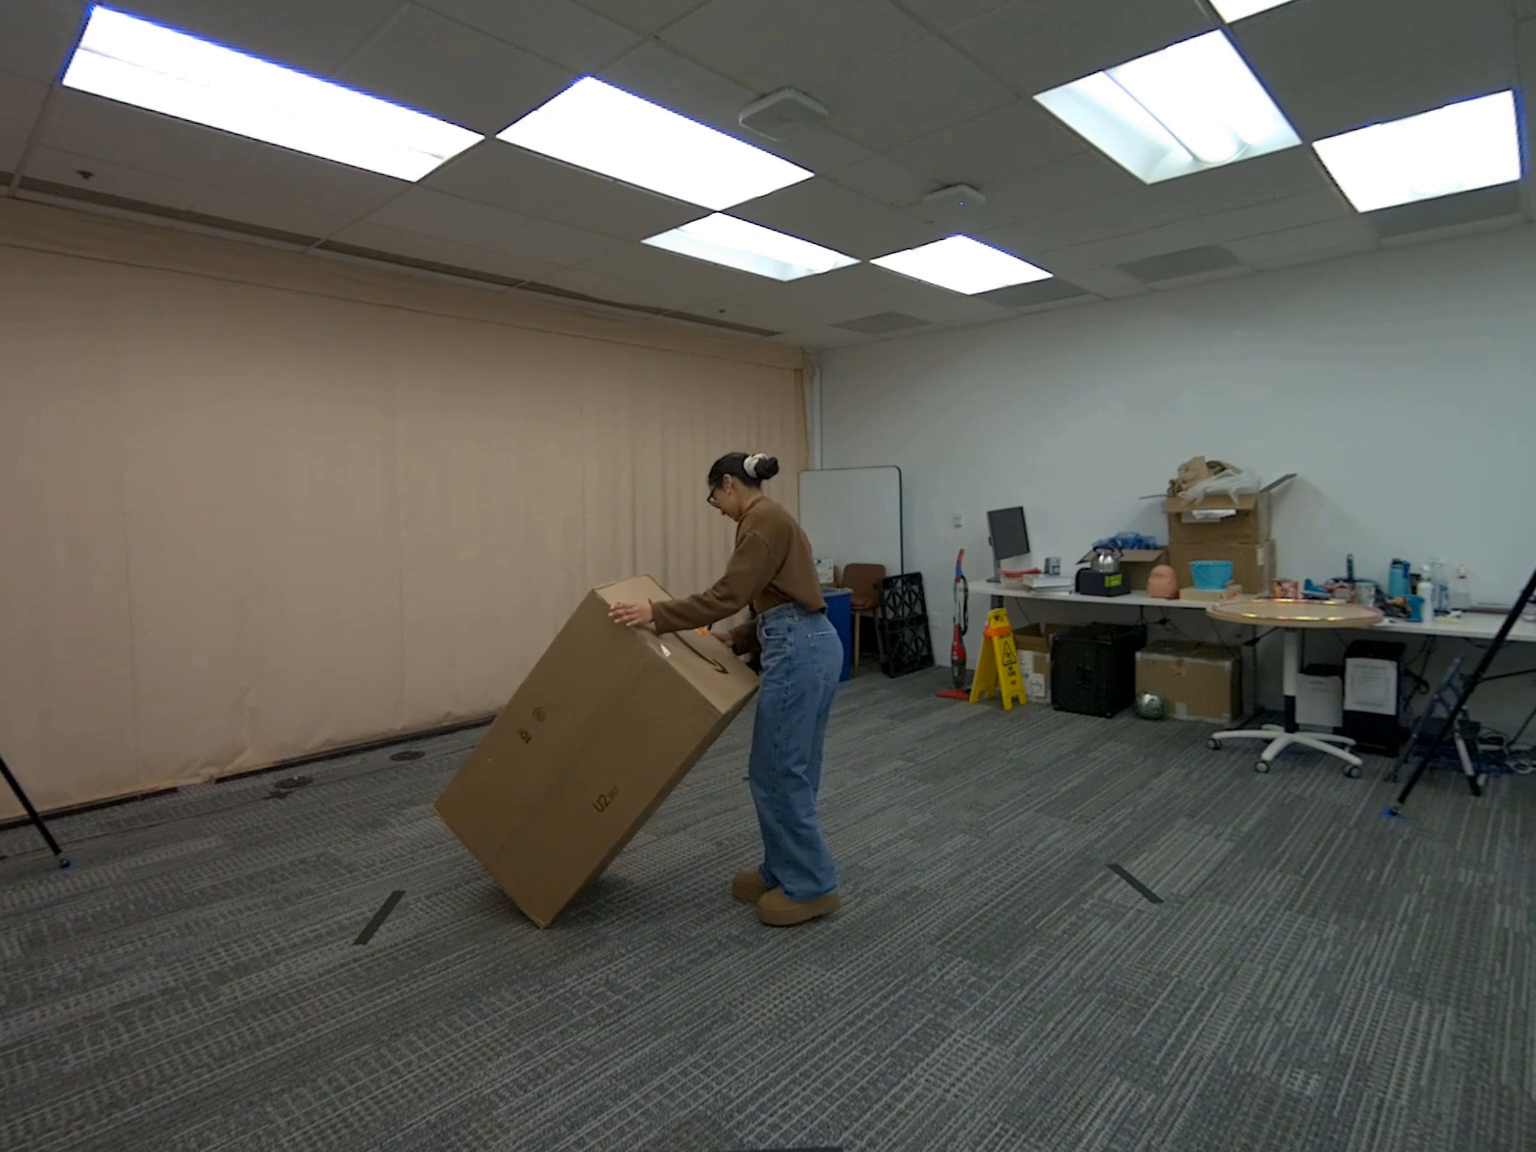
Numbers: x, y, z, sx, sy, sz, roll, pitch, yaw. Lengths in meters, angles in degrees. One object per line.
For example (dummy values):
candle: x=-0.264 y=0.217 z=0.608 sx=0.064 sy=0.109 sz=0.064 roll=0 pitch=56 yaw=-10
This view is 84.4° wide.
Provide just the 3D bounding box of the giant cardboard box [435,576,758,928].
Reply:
giant cardboard box: x=-0.587 y=0.588 z=2.907 sx=0.587 sy=1.028 sz=0.418 roll=42 pitch=17 yaw=12
